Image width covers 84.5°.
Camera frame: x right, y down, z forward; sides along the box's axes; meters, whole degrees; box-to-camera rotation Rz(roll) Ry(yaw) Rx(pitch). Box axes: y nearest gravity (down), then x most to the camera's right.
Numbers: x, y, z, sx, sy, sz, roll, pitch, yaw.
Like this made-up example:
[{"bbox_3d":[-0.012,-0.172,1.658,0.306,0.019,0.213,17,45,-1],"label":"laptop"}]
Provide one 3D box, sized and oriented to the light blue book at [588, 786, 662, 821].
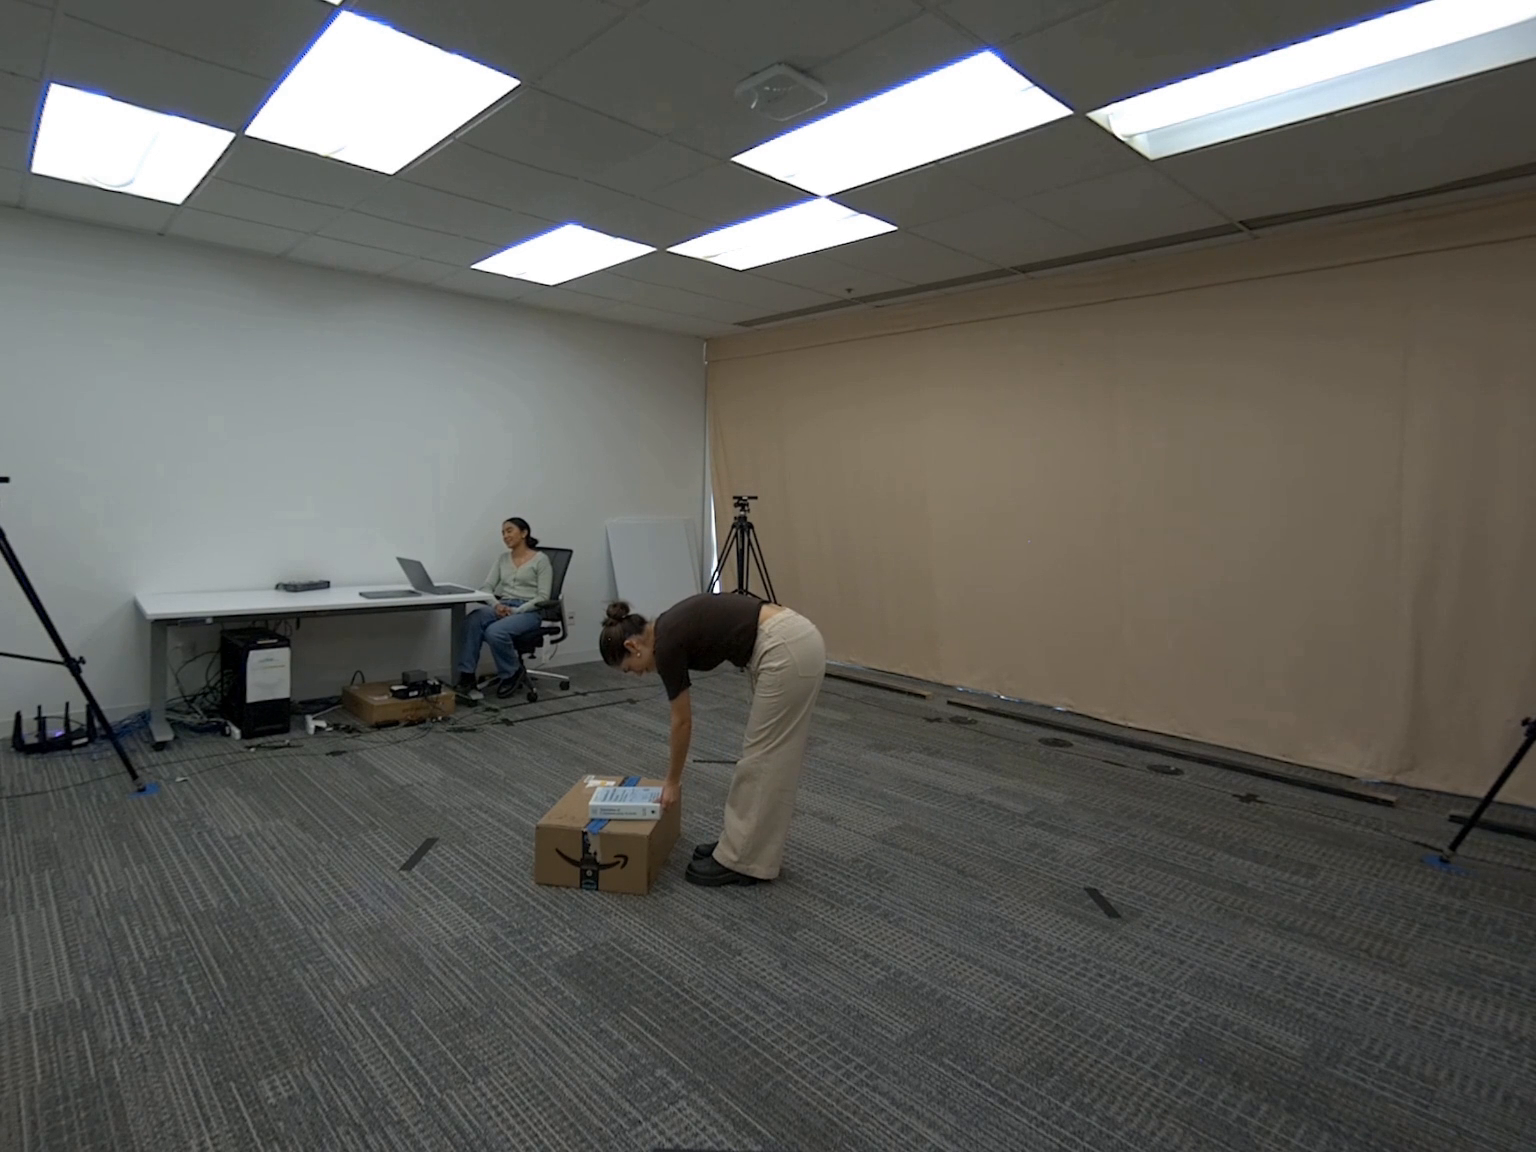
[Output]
[{"bbox_3d":[-0.525,0.844,3.151,0.261,0.059,0.192,0,5,1],"label":"light blue book"}]
